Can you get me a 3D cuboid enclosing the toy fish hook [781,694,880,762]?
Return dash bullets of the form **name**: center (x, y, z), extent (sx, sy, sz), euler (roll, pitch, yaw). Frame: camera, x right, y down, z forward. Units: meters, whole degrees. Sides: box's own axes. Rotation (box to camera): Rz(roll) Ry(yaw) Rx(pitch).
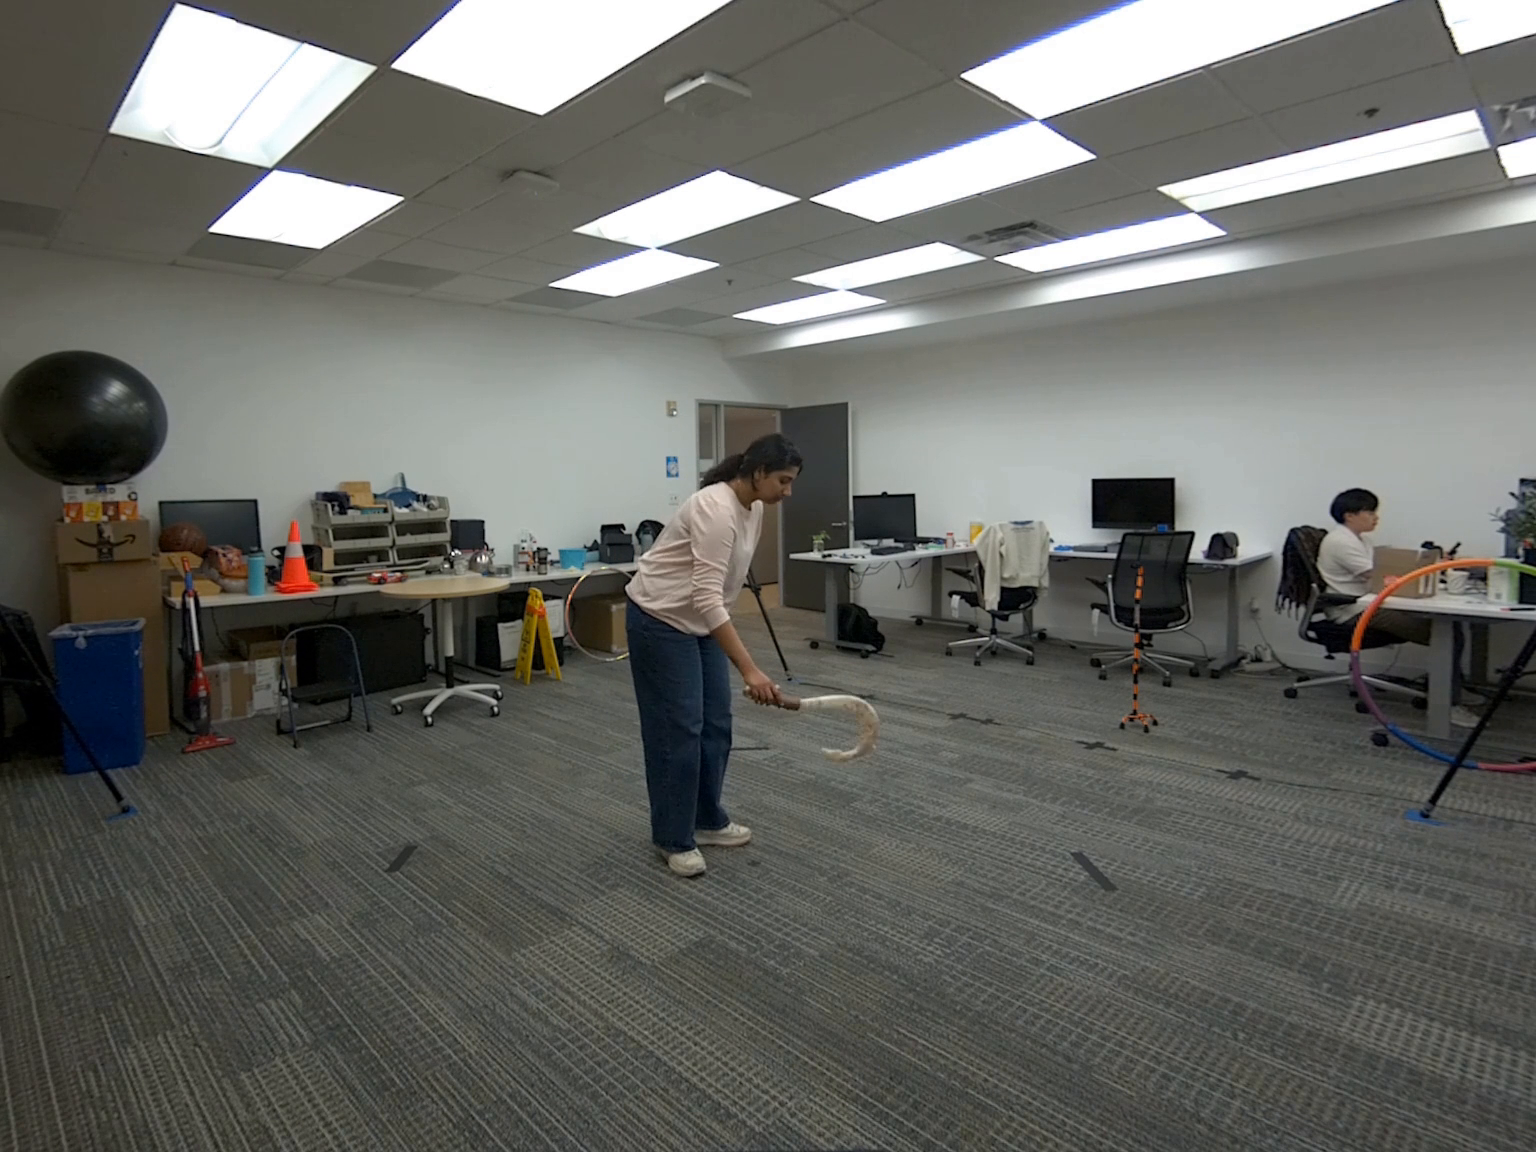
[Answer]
- **toy fish hook**: center (0.150, 0.495, 2.885), extent (0.499, 0.227, 0.048), euler (12, -13, -13)
